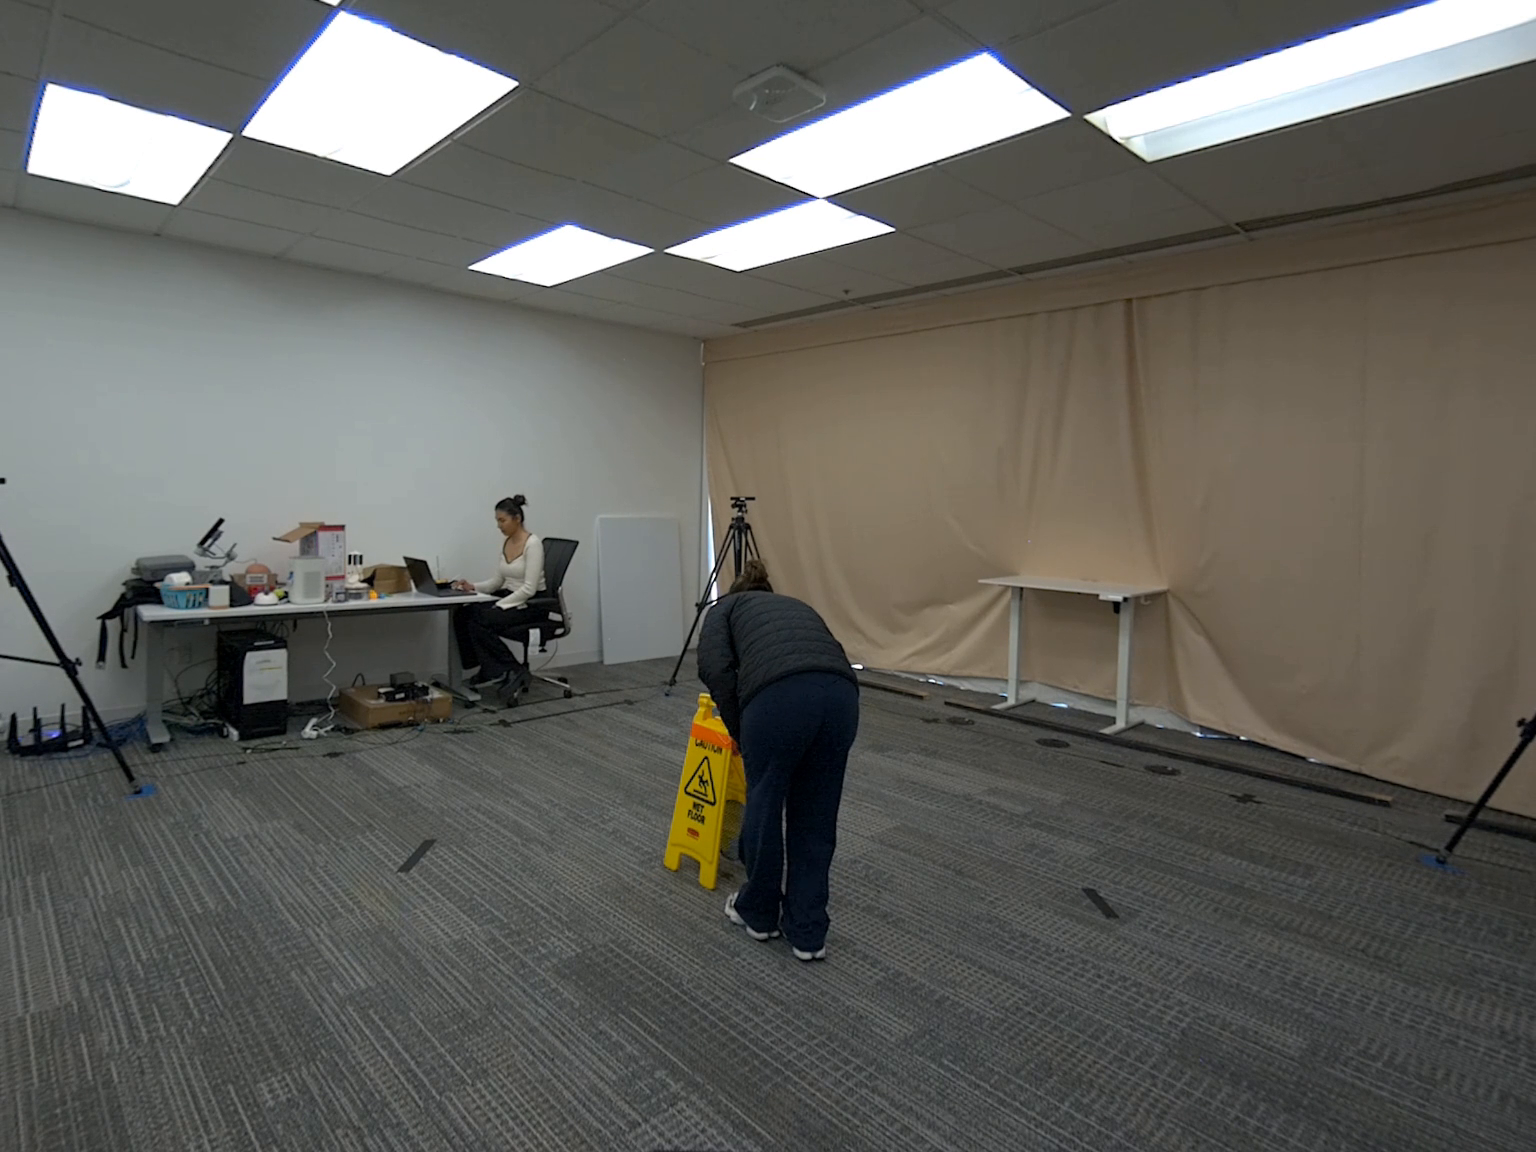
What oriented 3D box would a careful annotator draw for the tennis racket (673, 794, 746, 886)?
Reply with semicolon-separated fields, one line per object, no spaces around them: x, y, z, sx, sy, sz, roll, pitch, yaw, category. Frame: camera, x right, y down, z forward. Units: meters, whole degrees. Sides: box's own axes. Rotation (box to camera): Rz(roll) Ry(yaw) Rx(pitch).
-0.159;0.935;3.031;0.436;0.219;0.031;-30;-36;27;tennis racket
